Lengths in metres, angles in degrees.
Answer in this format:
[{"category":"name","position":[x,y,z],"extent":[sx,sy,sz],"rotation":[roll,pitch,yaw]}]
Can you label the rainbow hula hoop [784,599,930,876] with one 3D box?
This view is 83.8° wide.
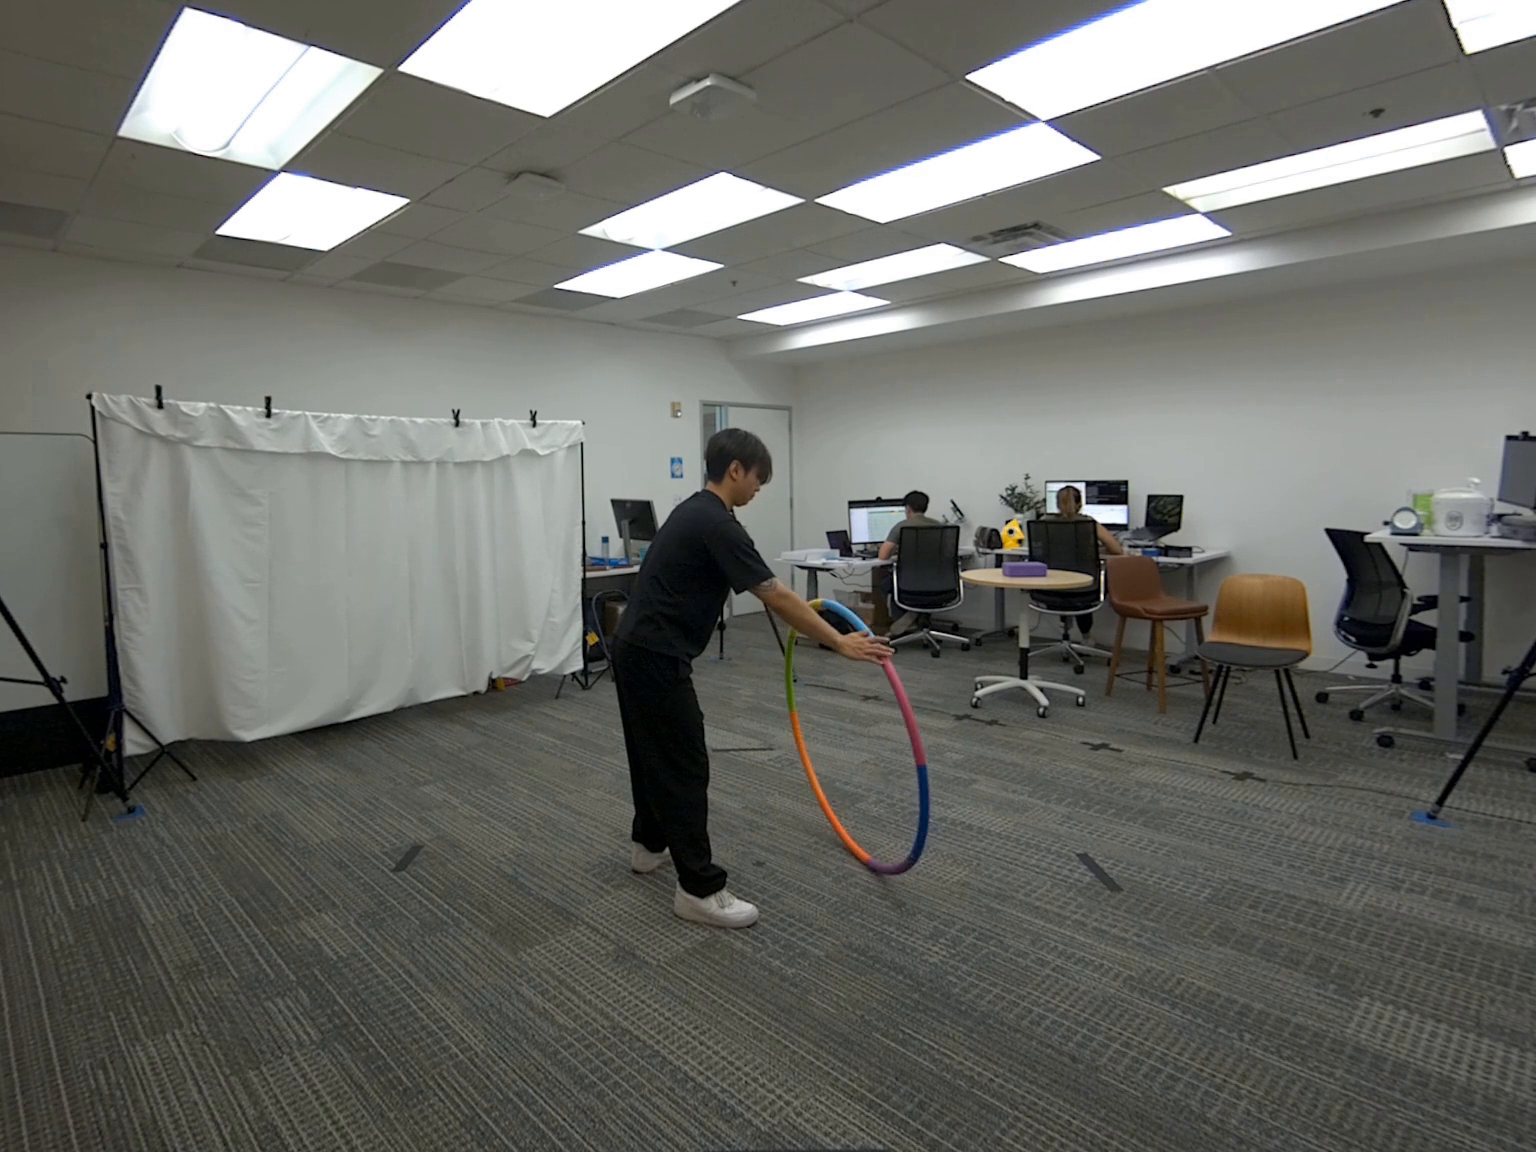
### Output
[{"category":"rainbow hula hoop","position":[0.286,0.569,3.061],"extent":[0.035,0.972,1.001],"rotation":[-10,8,-21]}]
